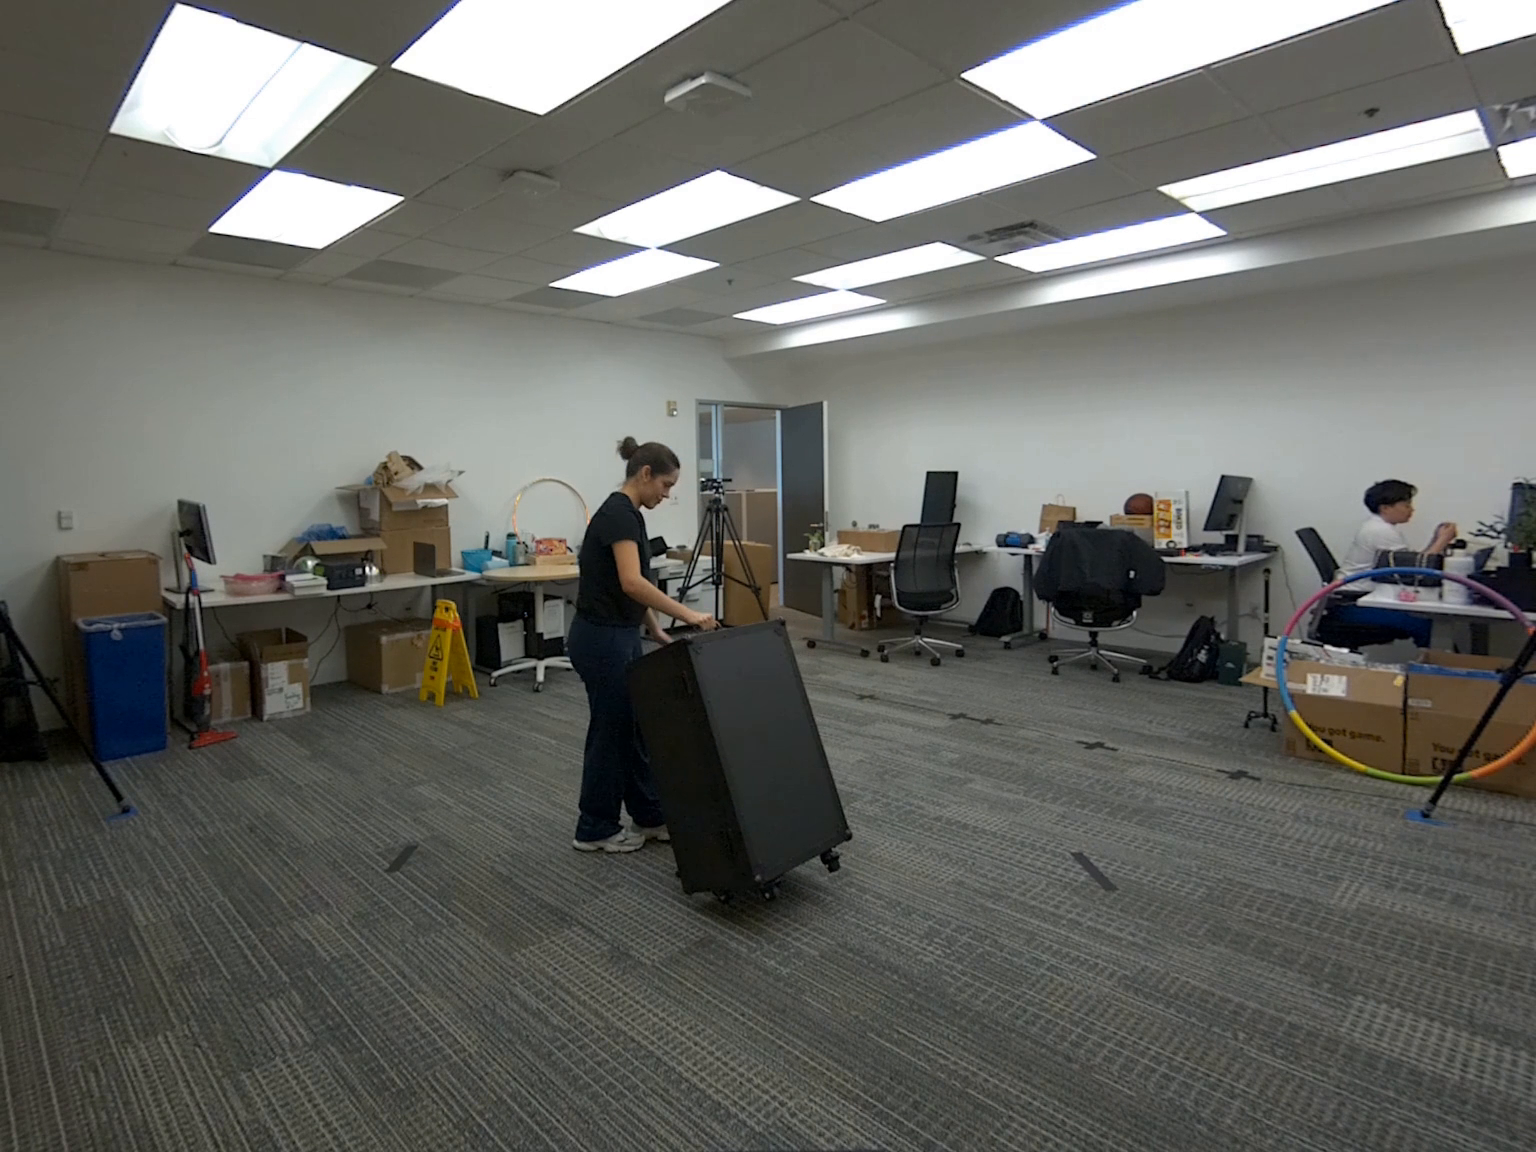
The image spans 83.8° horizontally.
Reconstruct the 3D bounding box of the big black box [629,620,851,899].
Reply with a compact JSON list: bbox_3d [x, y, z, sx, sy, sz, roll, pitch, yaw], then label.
[{"bbox_3d":[-0.091,0.623,2.925,0.507,0.873,0.401,-5,-16,-46],"label":"big black box"}]
